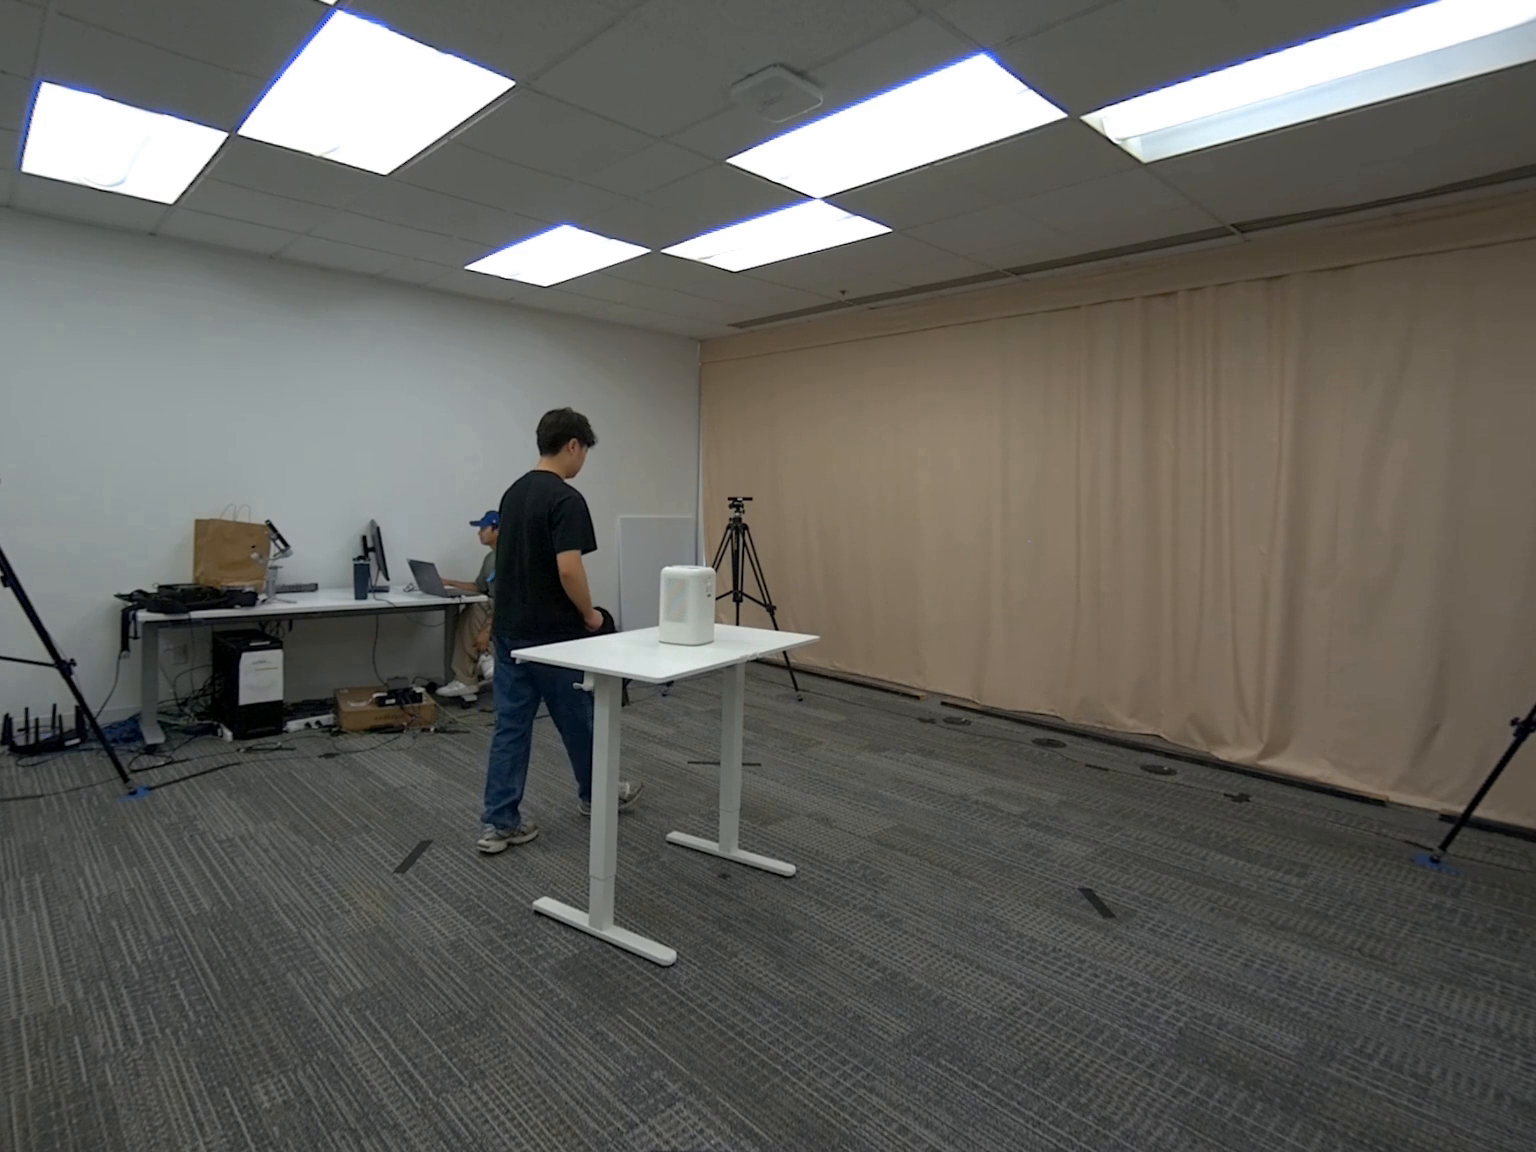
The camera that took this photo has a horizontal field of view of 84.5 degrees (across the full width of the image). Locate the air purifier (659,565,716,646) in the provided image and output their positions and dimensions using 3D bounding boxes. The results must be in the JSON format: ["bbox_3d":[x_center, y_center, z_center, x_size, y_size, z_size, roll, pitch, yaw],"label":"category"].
[{"bbox_3d":[-0.293,0.102,2.973,0.175,0.265,0.168,4,4,25],"label":"air purifier"}]
